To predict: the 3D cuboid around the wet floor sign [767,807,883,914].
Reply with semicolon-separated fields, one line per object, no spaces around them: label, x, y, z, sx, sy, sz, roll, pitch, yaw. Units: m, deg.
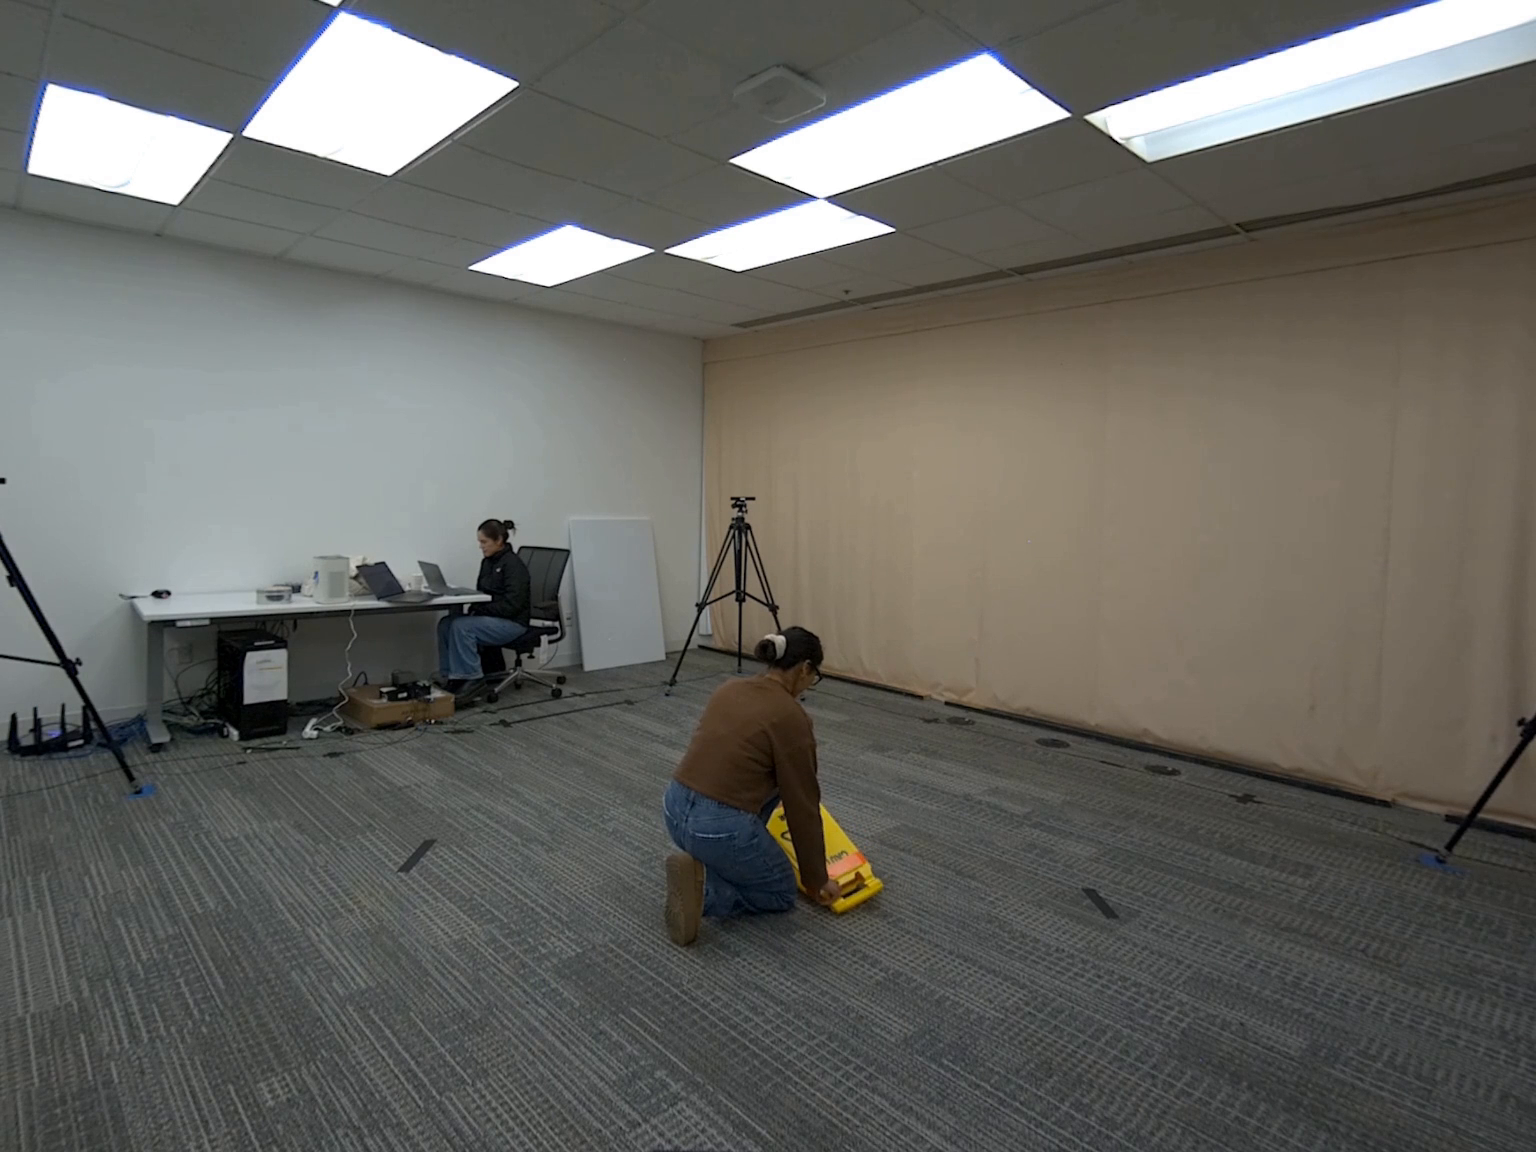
wet floor sign;0.146;1.013;3.117;0.278;0.285;0.664;-15;21;-25
